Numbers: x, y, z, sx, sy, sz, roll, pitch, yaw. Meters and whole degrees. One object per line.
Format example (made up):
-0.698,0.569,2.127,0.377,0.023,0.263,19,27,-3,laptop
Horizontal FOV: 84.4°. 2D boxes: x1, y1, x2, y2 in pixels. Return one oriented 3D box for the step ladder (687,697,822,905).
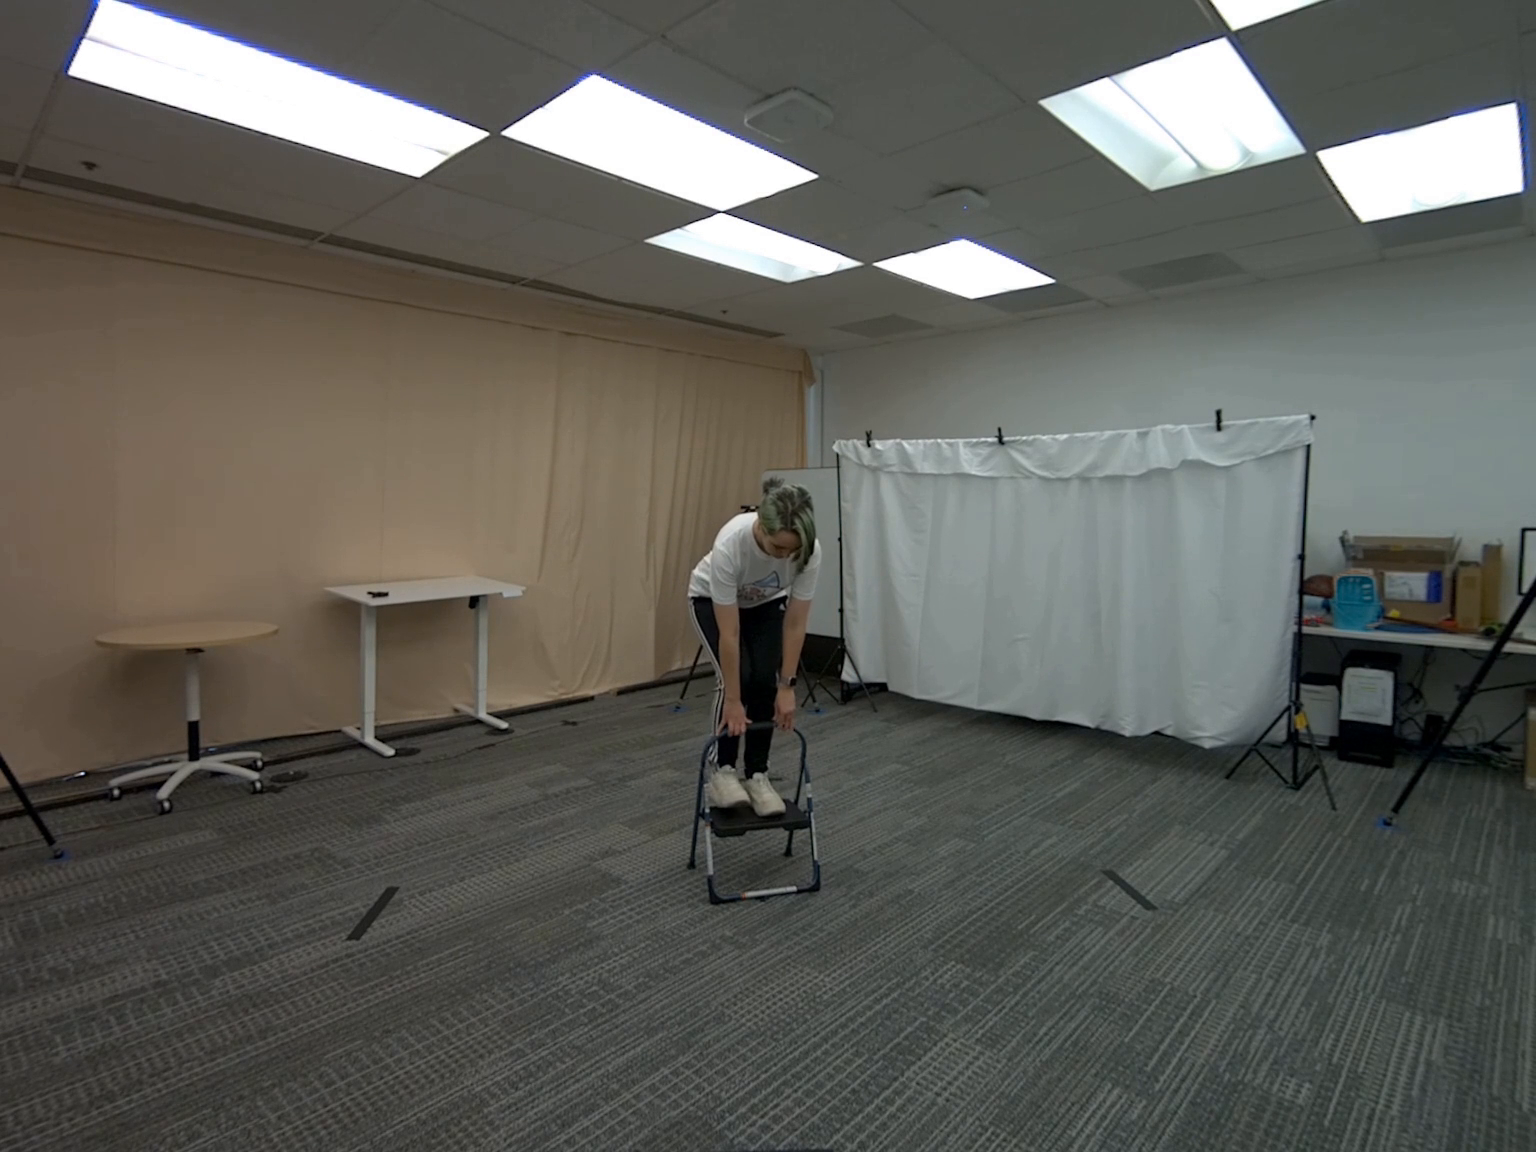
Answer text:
-0.055,0.833,3.133,0.423,0.605,0.356,-1,3,-18,step ladder
